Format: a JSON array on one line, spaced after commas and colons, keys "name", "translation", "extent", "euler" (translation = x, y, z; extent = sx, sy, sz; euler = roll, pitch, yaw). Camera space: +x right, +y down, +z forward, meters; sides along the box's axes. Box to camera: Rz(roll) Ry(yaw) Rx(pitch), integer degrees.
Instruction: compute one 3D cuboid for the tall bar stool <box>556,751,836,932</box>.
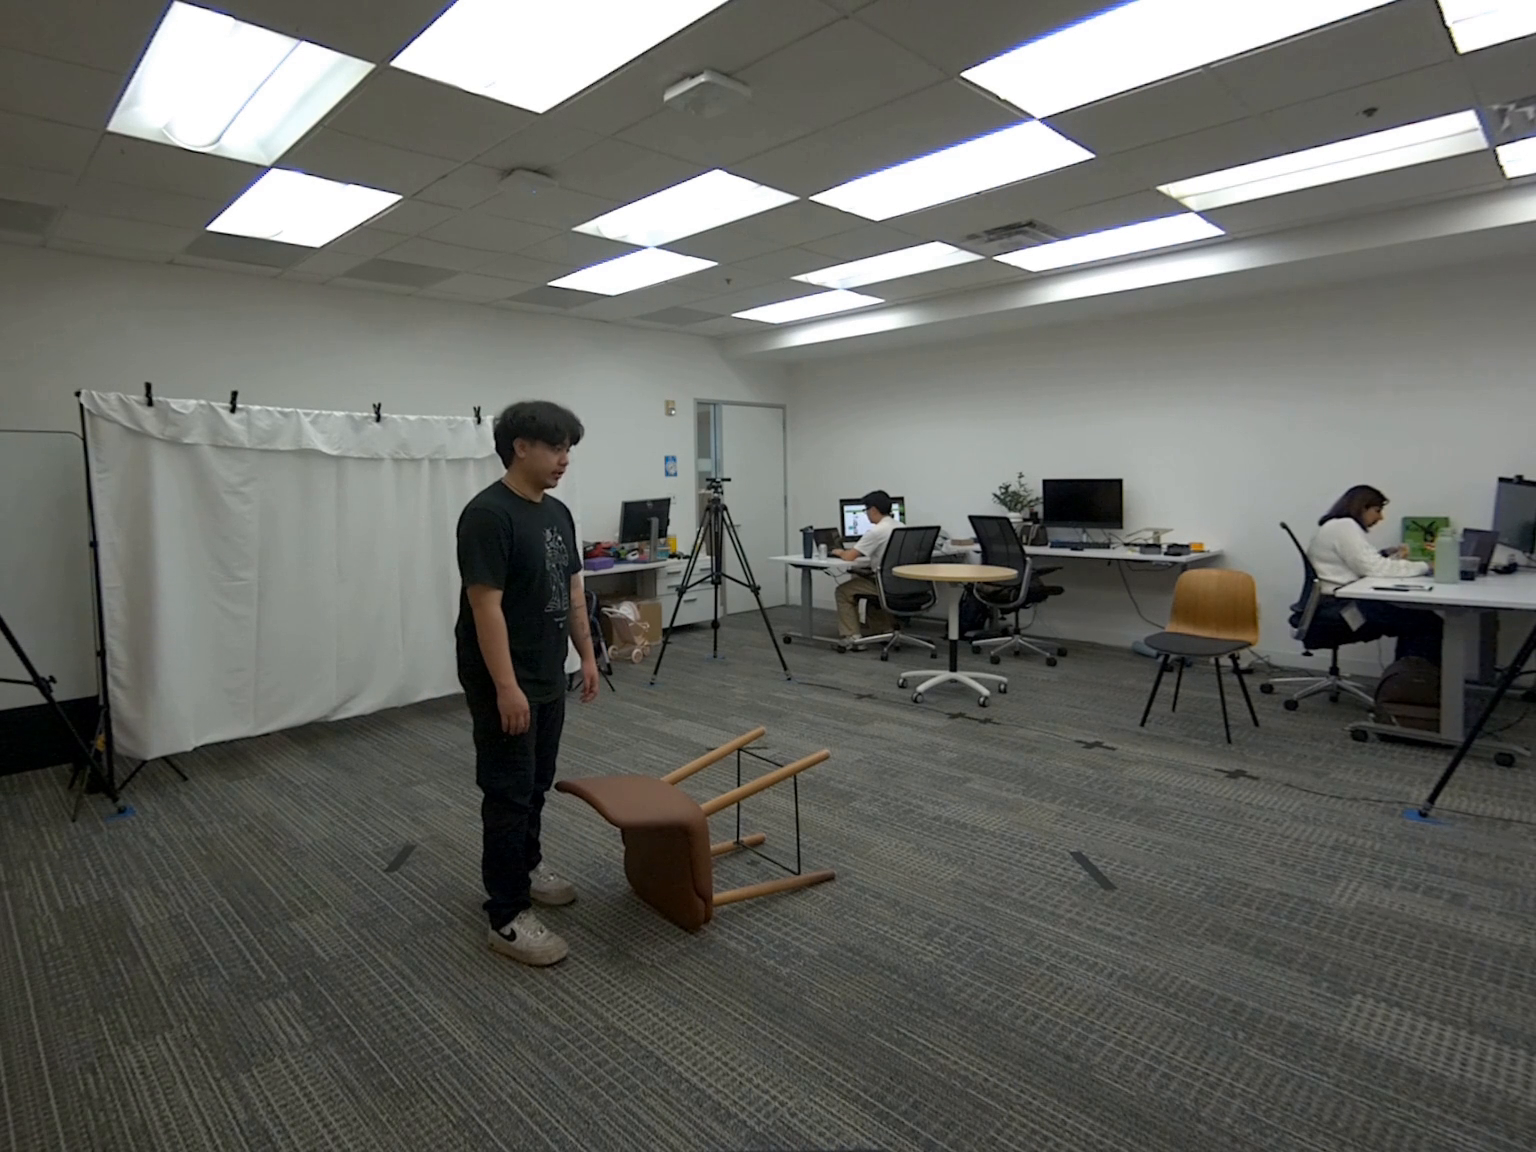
[{"name": "tall bar stool", "translation": [-0.233, 0.846, 2.852], "extent": [0.866, 0.465, 0.471], "euler": [-5, 7, -39]}]
